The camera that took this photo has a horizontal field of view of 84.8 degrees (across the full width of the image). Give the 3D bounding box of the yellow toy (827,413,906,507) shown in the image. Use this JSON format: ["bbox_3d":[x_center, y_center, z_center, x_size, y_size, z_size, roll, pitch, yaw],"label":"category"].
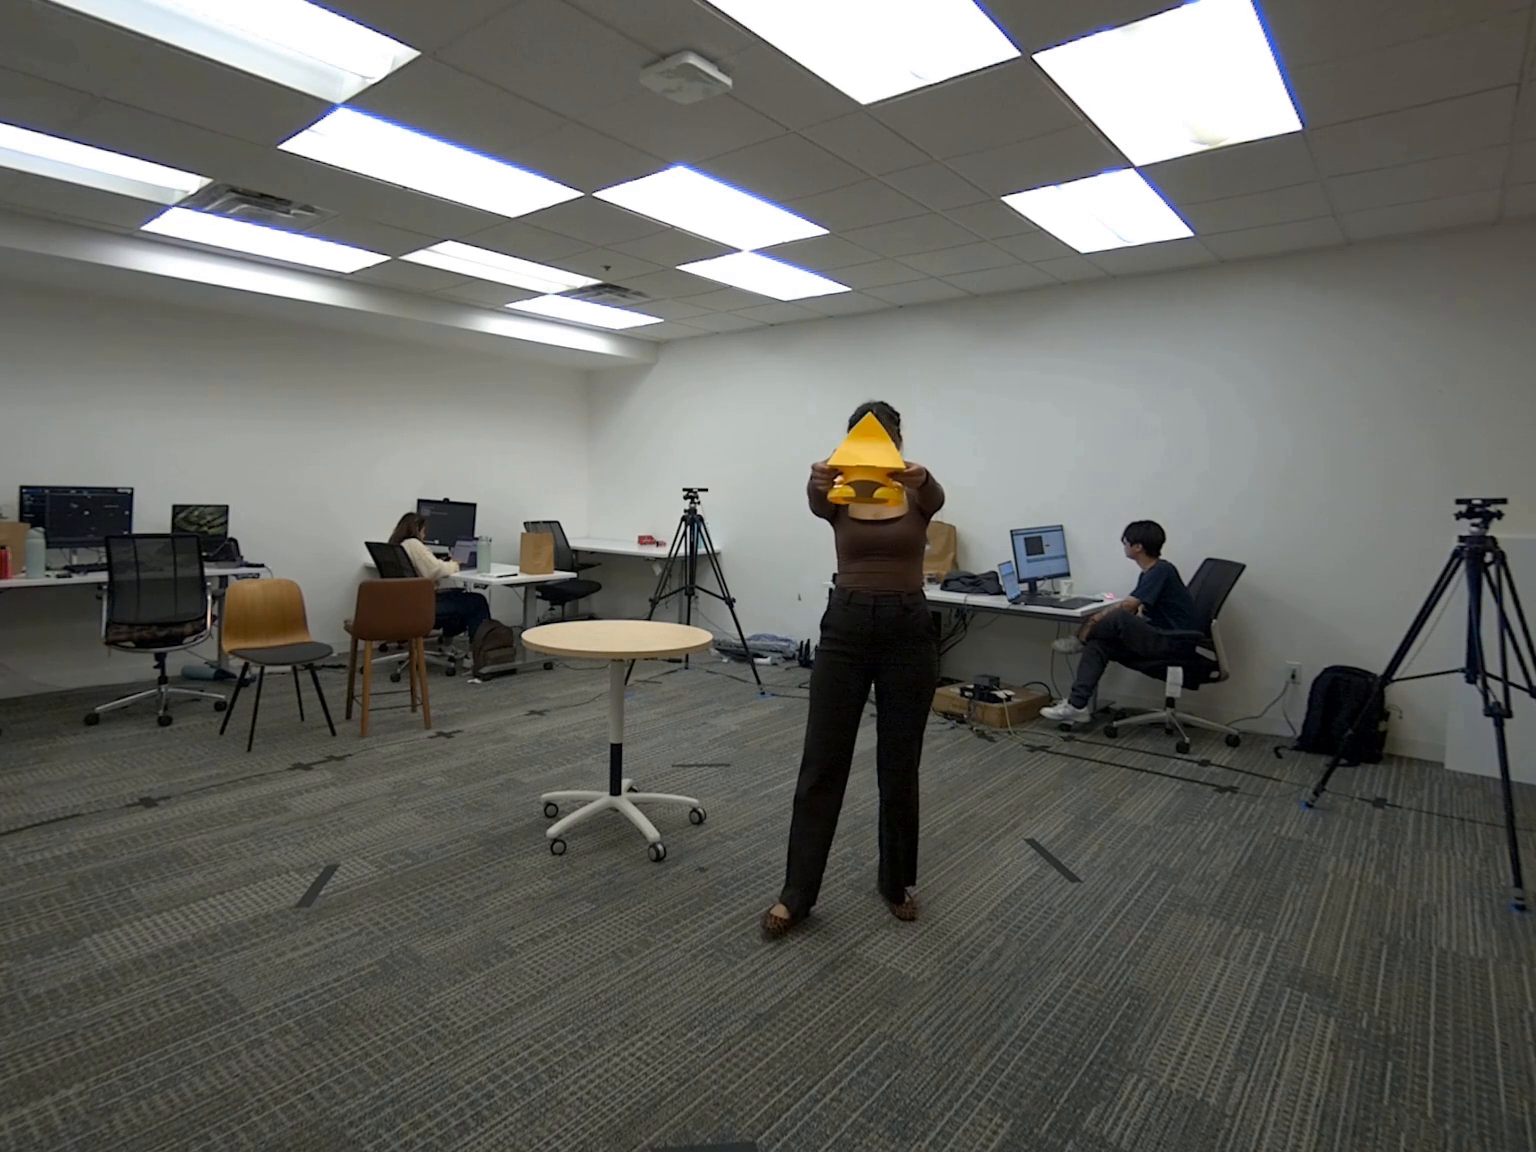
[{"bbox_3d":[0.262,-0.322,2.298,0.207,0.231,0.190,3,-4,10],"label":"yellow toy"}]
